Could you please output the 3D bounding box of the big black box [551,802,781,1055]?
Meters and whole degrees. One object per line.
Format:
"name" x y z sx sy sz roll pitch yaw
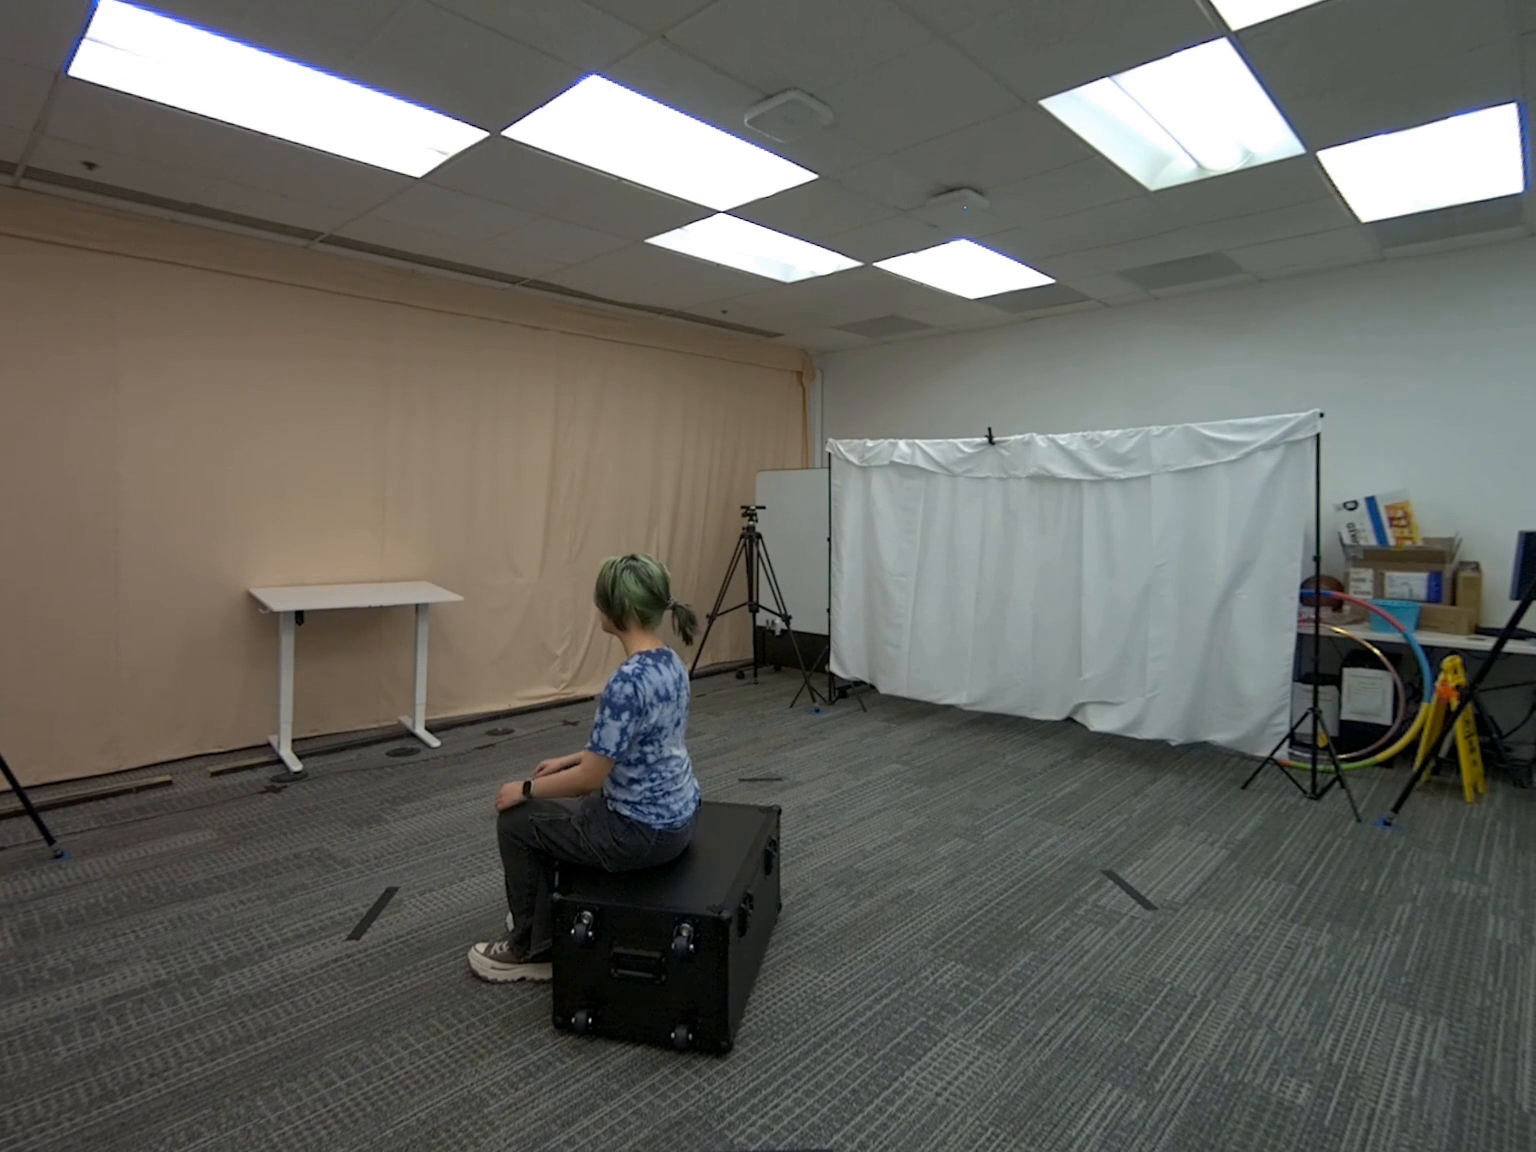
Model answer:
"big black box" -0.264 0.996 2.495 0.528 0.395 0.852 1 4 11
